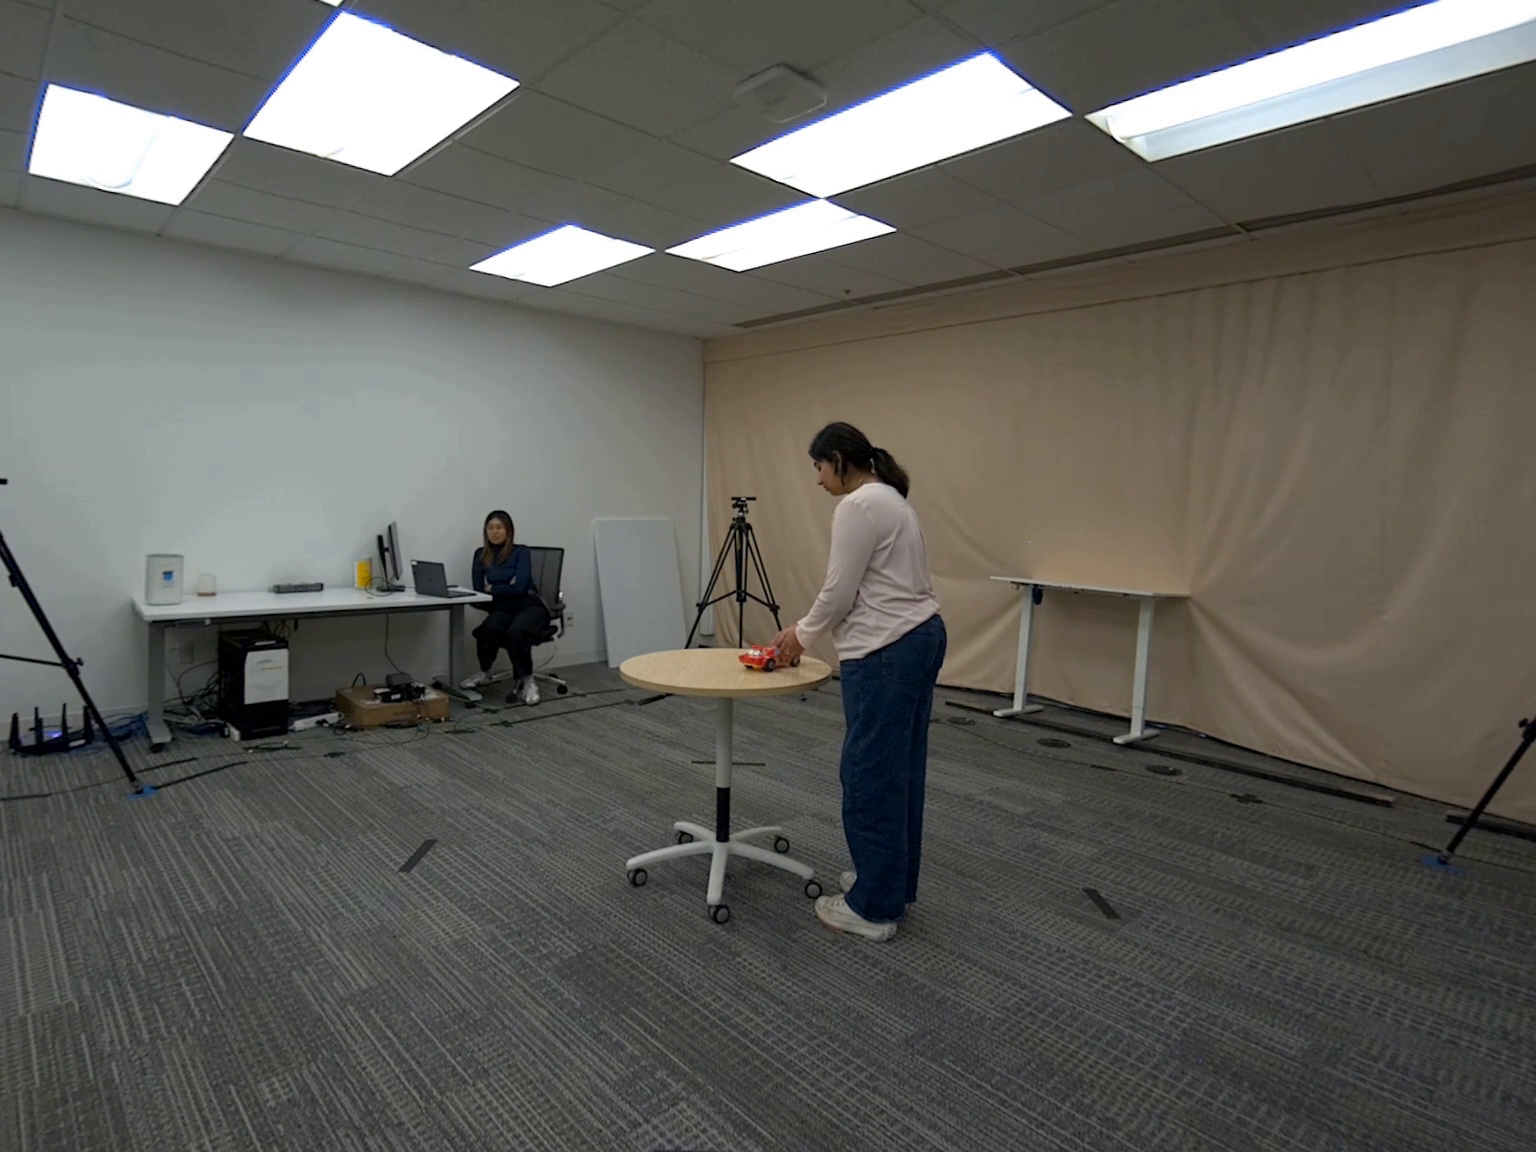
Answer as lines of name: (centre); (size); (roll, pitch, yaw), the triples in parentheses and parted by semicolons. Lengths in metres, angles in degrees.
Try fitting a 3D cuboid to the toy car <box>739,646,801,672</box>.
toy car: (-0.009, 0.301, 3.029); (0.133, 0.083, 0.247); (4, -6, 44)
